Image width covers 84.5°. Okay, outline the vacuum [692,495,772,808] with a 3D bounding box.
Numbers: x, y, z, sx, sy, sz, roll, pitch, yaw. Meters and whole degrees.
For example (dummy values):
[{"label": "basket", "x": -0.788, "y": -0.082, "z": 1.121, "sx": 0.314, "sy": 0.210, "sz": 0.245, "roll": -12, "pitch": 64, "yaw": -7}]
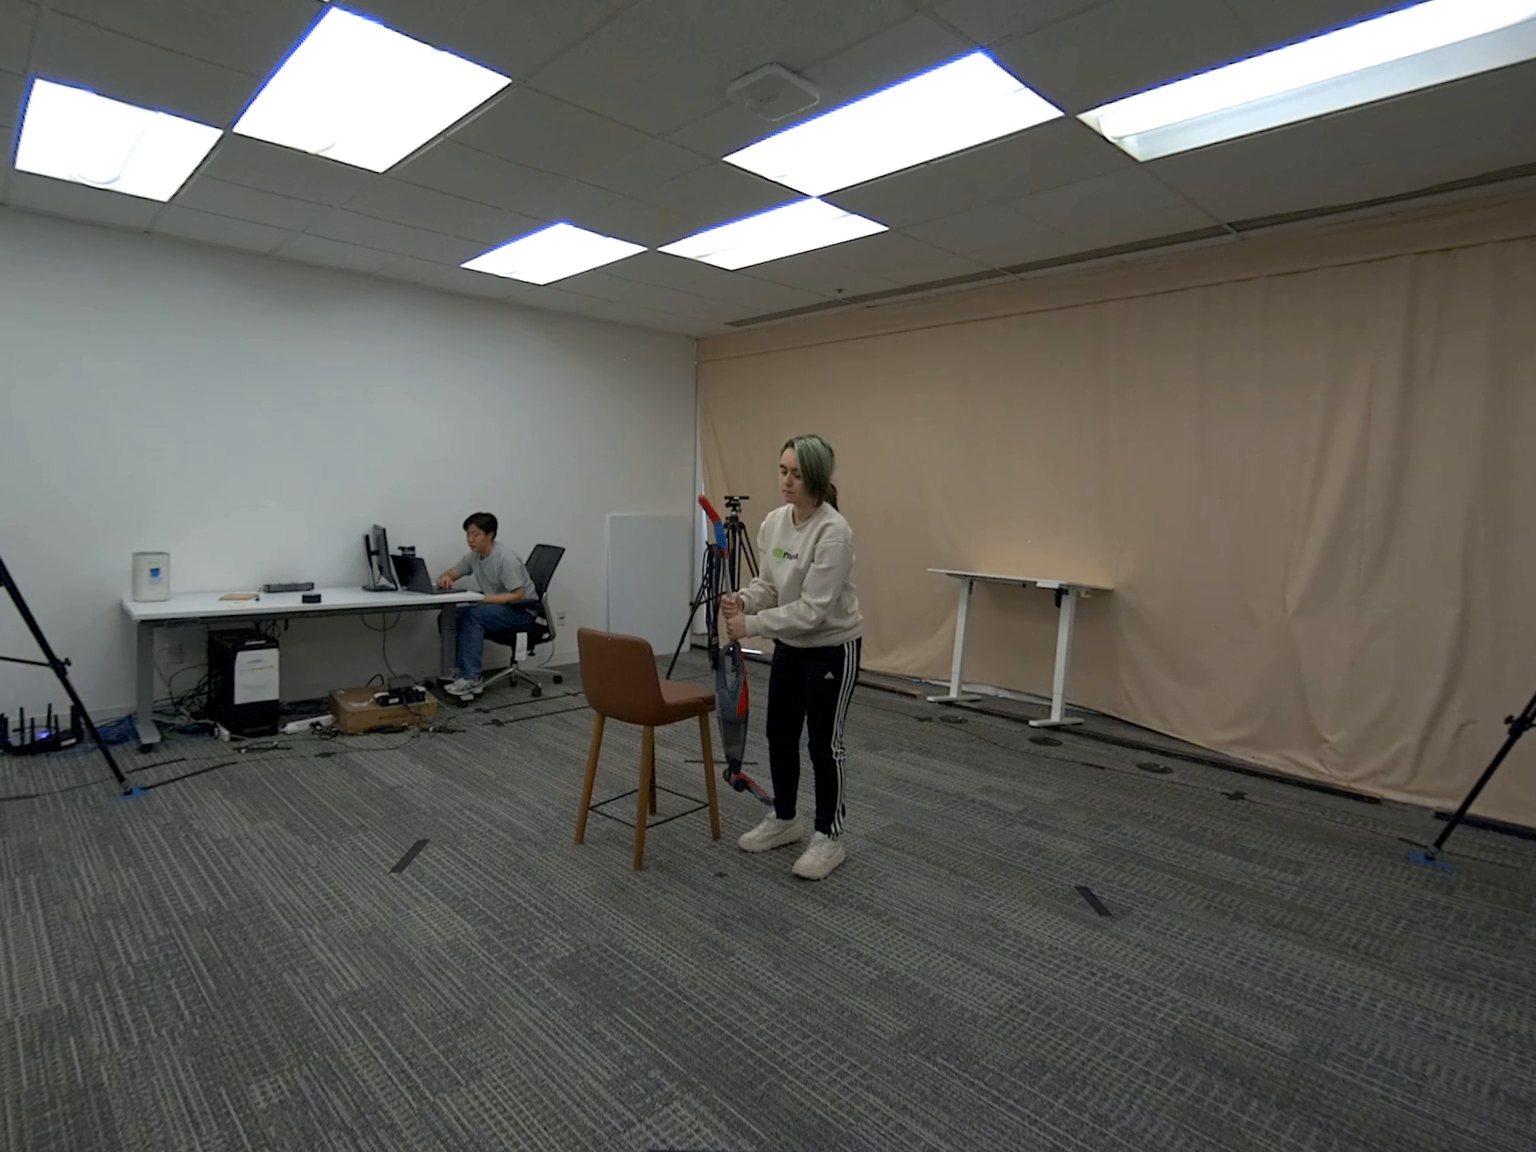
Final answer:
[{"label": "vacuum", "x": -0.163, "y": 0.248, "z": 2.979, "sx": 0.142, "sy": 1.045, "sz": 0.257, "roll": -10, "pitch": 5, "yaw": -20}]
